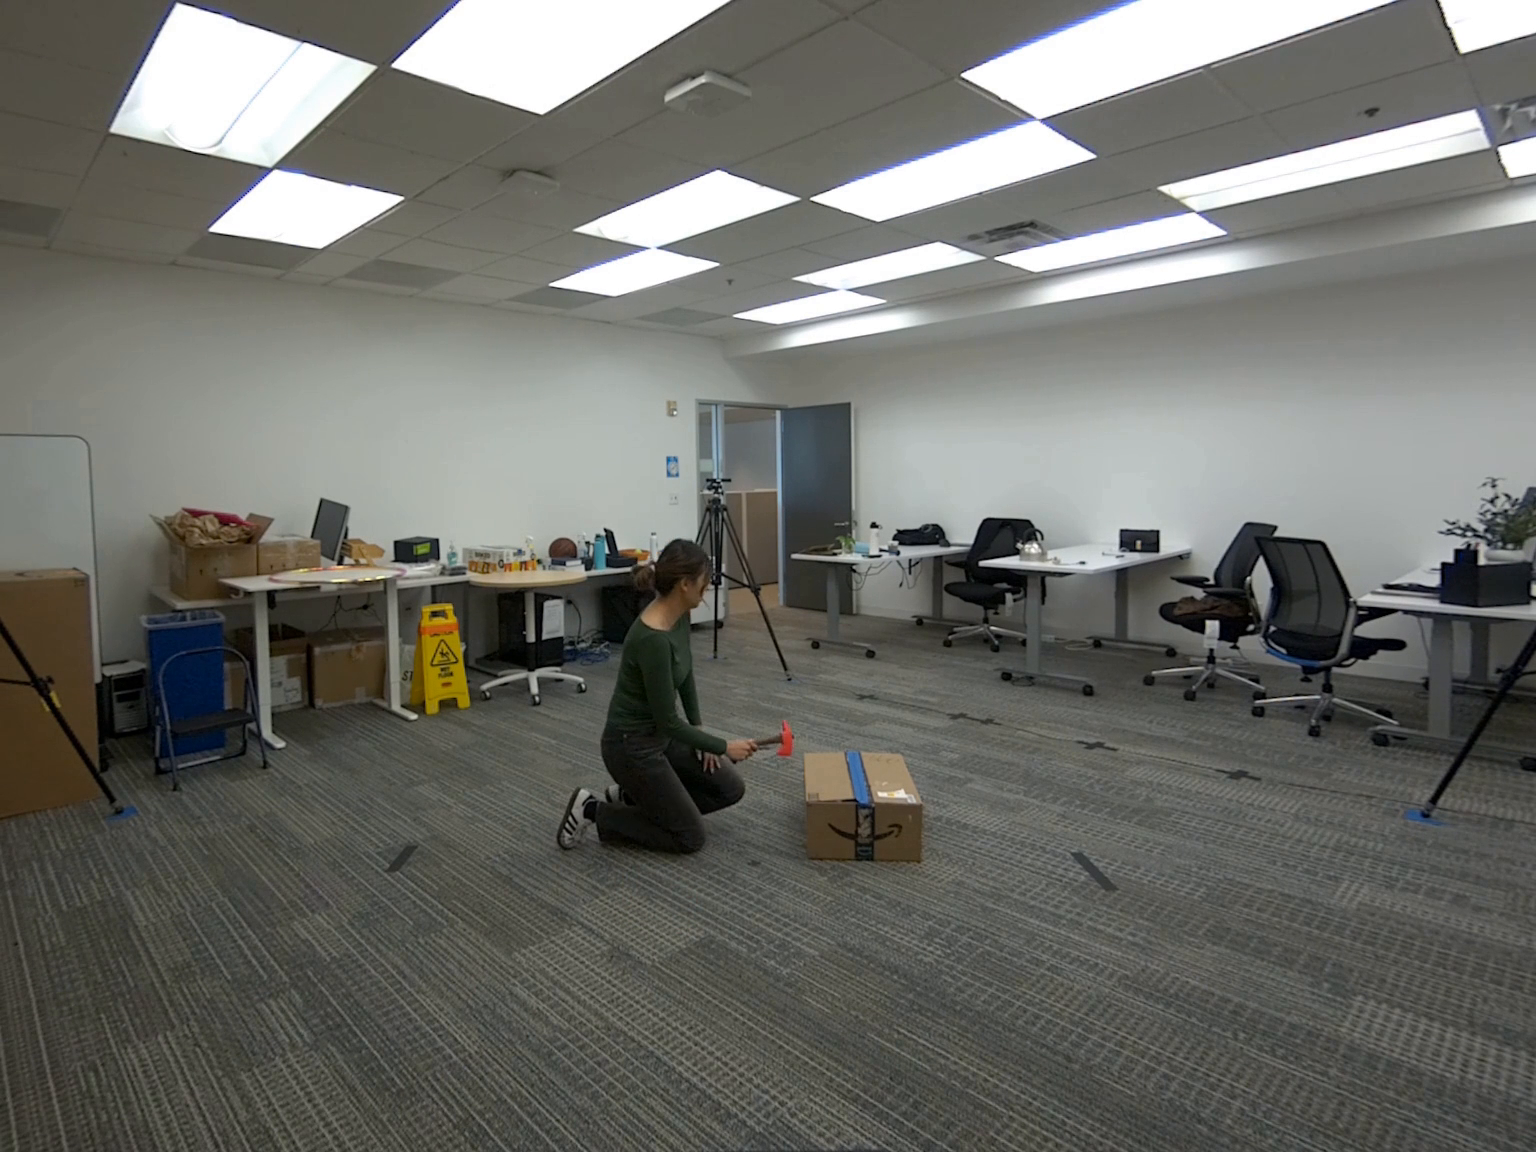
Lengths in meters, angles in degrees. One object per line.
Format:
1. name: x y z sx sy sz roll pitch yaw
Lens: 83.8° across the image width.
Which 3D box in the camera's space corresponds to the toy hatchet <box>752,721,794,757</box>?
1. toy hatchet: -0.016 0.658 3.208 0.268 0.130 0.030 -27 6 -20
